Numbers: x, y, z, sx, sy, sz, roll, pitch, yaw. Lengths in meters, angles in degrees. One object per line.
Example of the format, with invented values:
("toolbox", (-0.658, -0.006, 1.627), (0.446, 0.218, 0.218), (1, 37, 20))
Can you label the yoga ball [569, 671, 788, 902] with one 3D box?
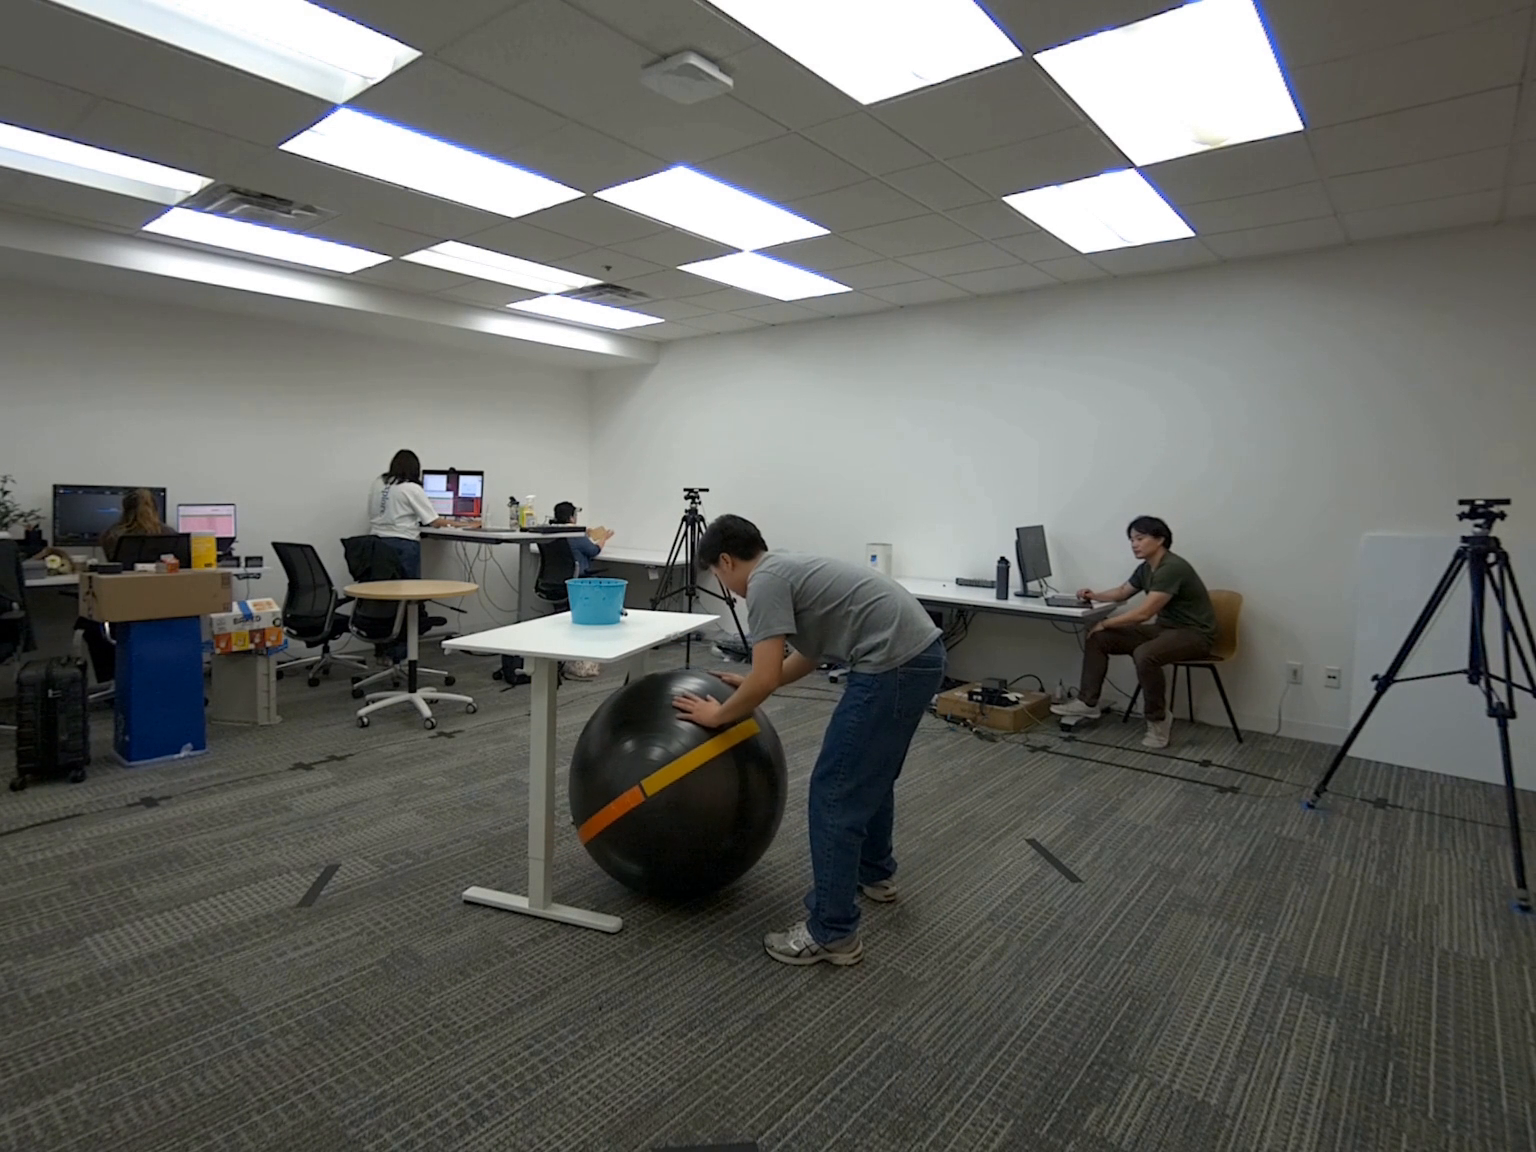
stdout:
("yoga ball", (-0.325, 0.716, 2.958), (0.757, 0.755, 0.762), (1, 4, -2))
